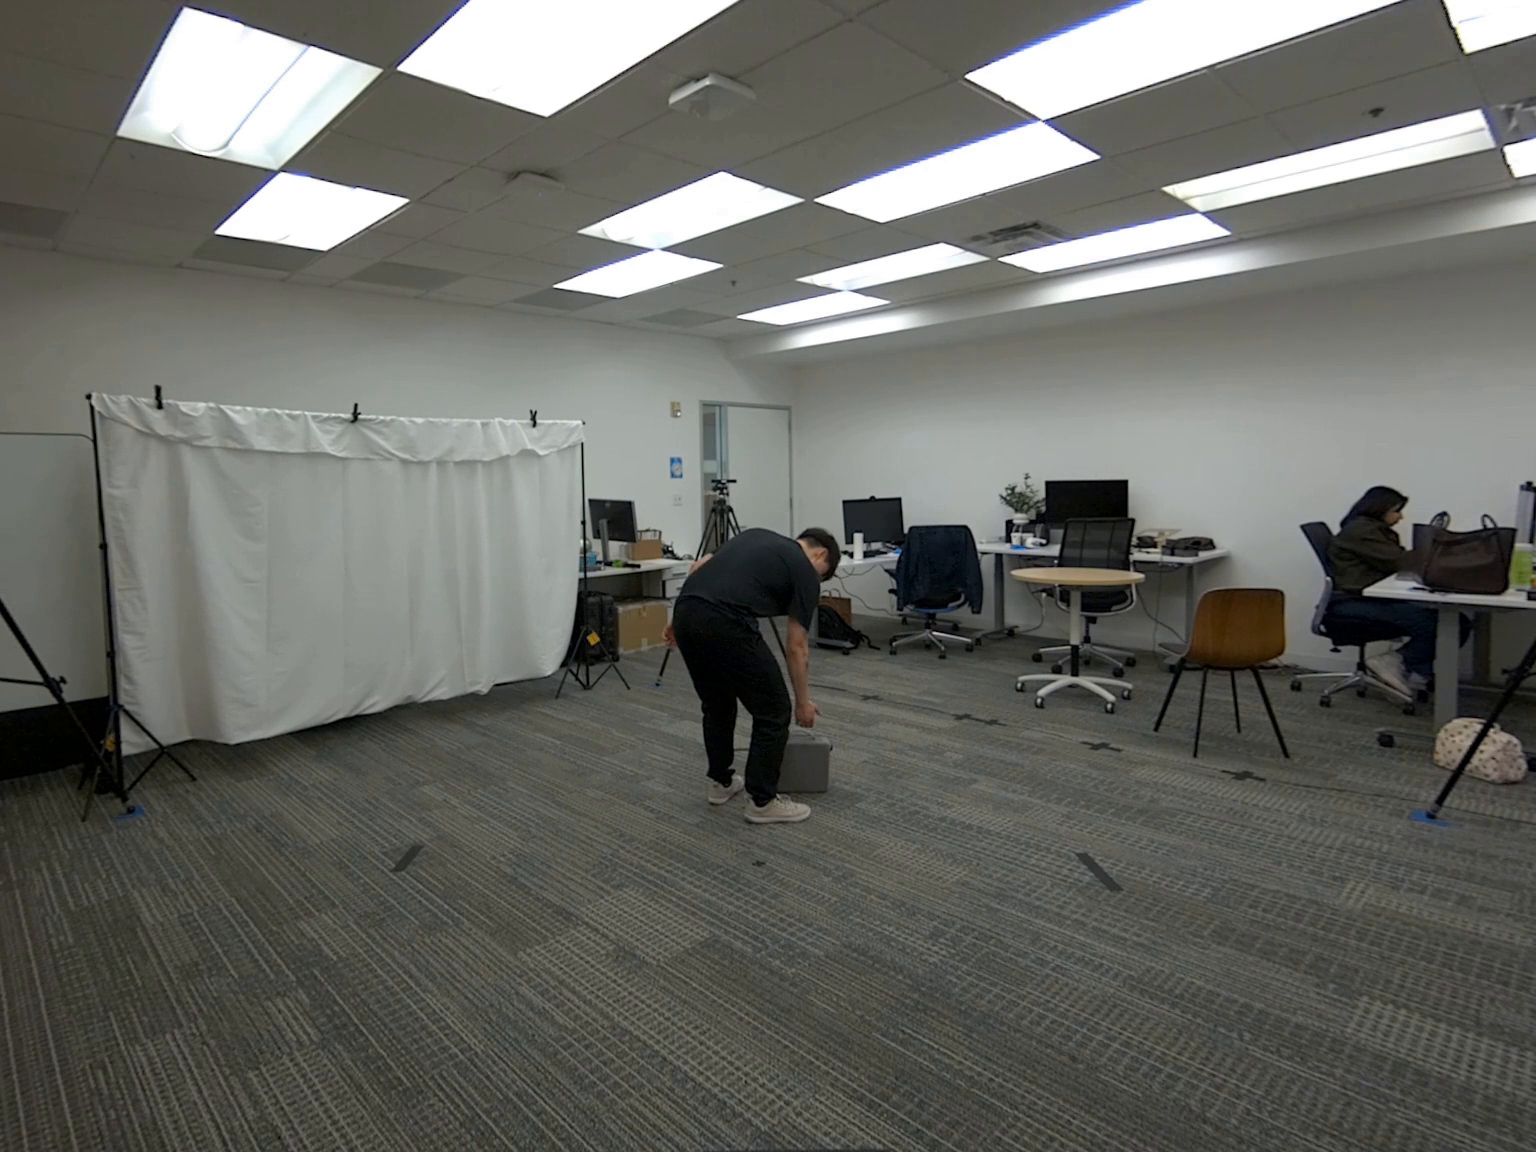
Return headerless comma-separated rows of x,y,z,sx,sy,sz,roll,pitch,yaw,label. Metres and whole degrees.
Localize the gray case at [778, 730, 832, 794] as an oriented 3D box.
0.154,0.831,3.819,0.257,0.258,0.105,1,11,2,gray case
